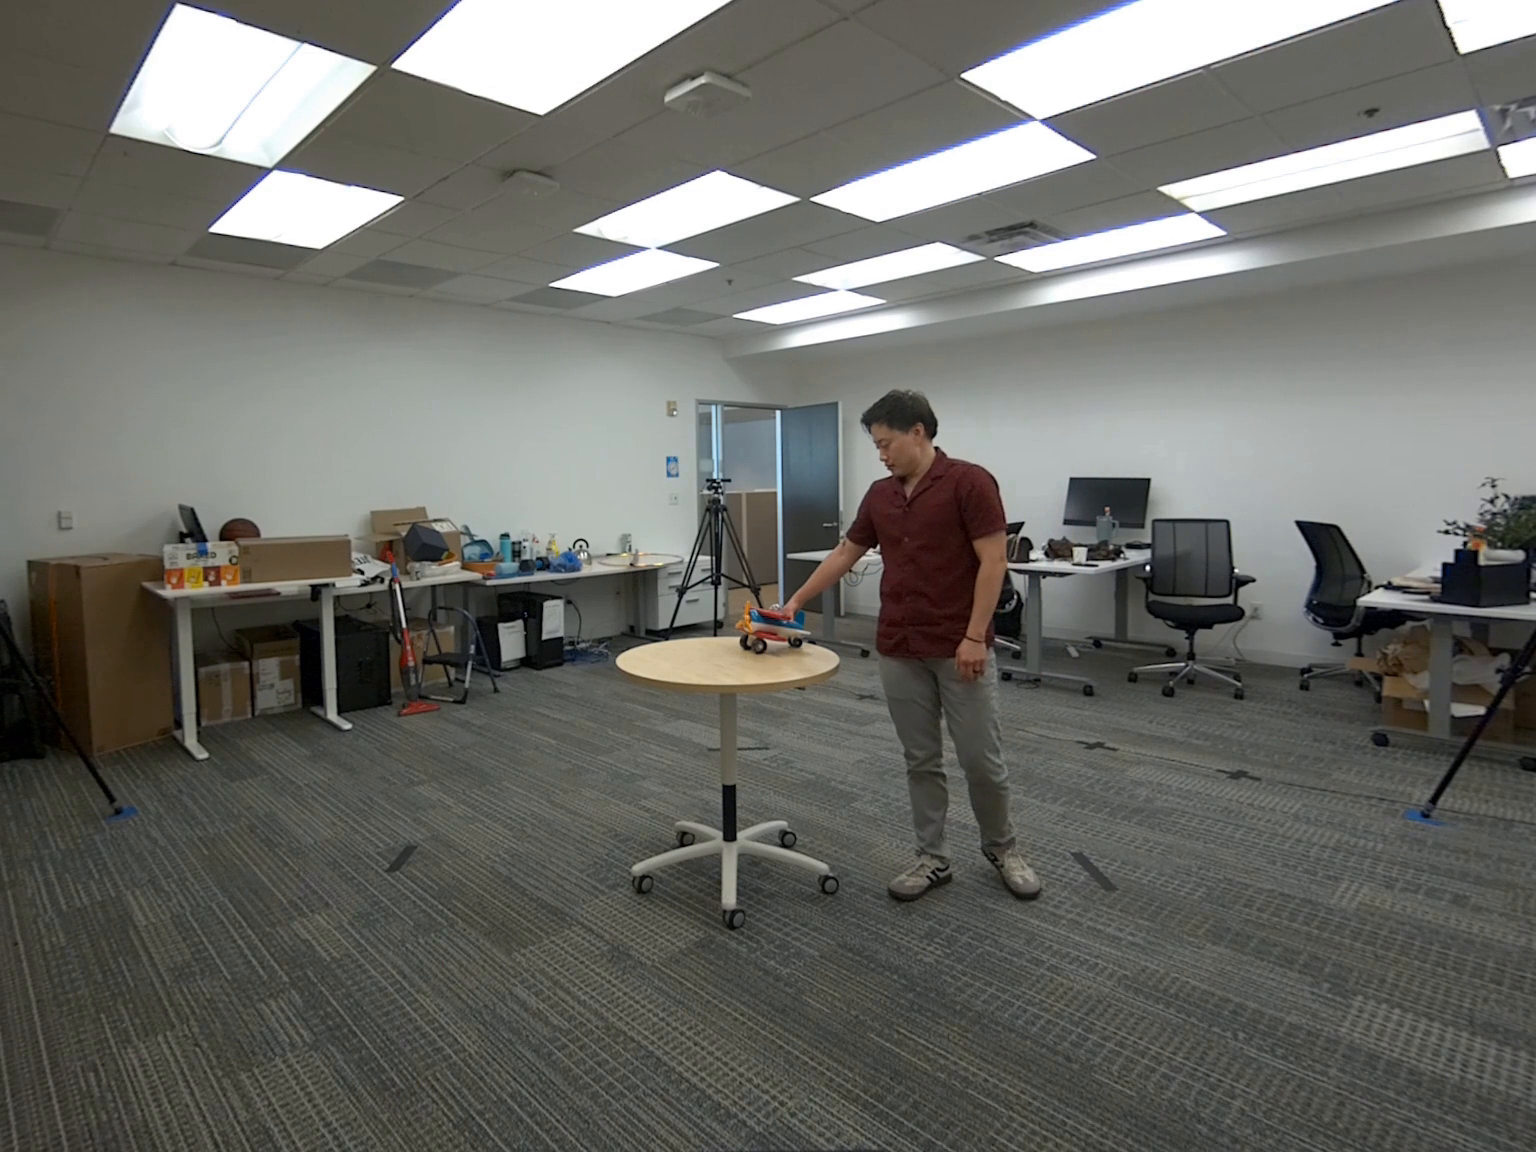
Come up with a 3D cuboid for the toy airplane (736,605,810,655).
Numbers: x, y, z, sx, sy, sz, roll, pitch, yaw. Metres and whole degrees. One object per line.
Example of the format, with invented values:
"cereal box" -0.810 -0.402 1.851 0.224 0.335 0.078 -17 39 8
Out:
"toy airplane" 0.012 0.187 3.085 0.258 0.155 0.253 4 8 32
